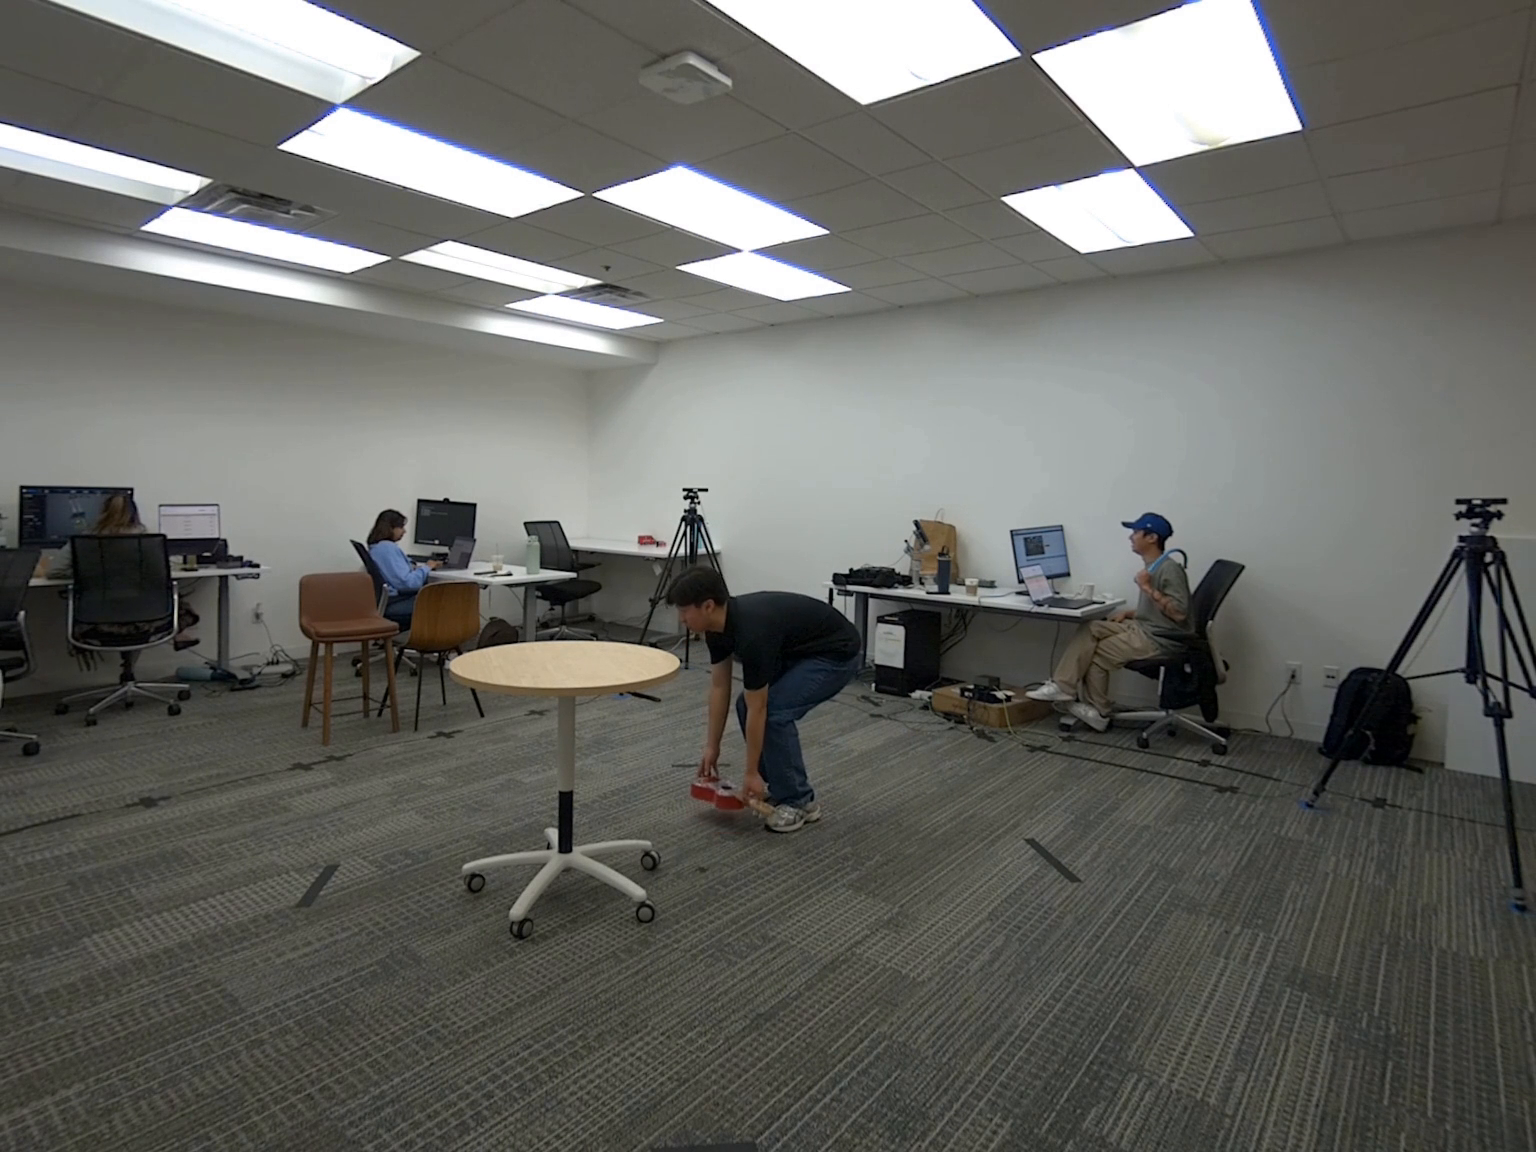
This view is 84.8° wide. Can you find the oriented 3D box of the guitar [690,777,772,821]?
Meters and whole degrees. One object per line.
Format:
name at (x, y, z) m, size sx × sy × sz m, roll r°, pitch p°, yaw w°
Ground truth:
guitar at (-0.164, 0.913, 3.483) m, size 0.188 × 0.070 × 0.511 m, roll -1°, pitch 5°, yaw -26°
